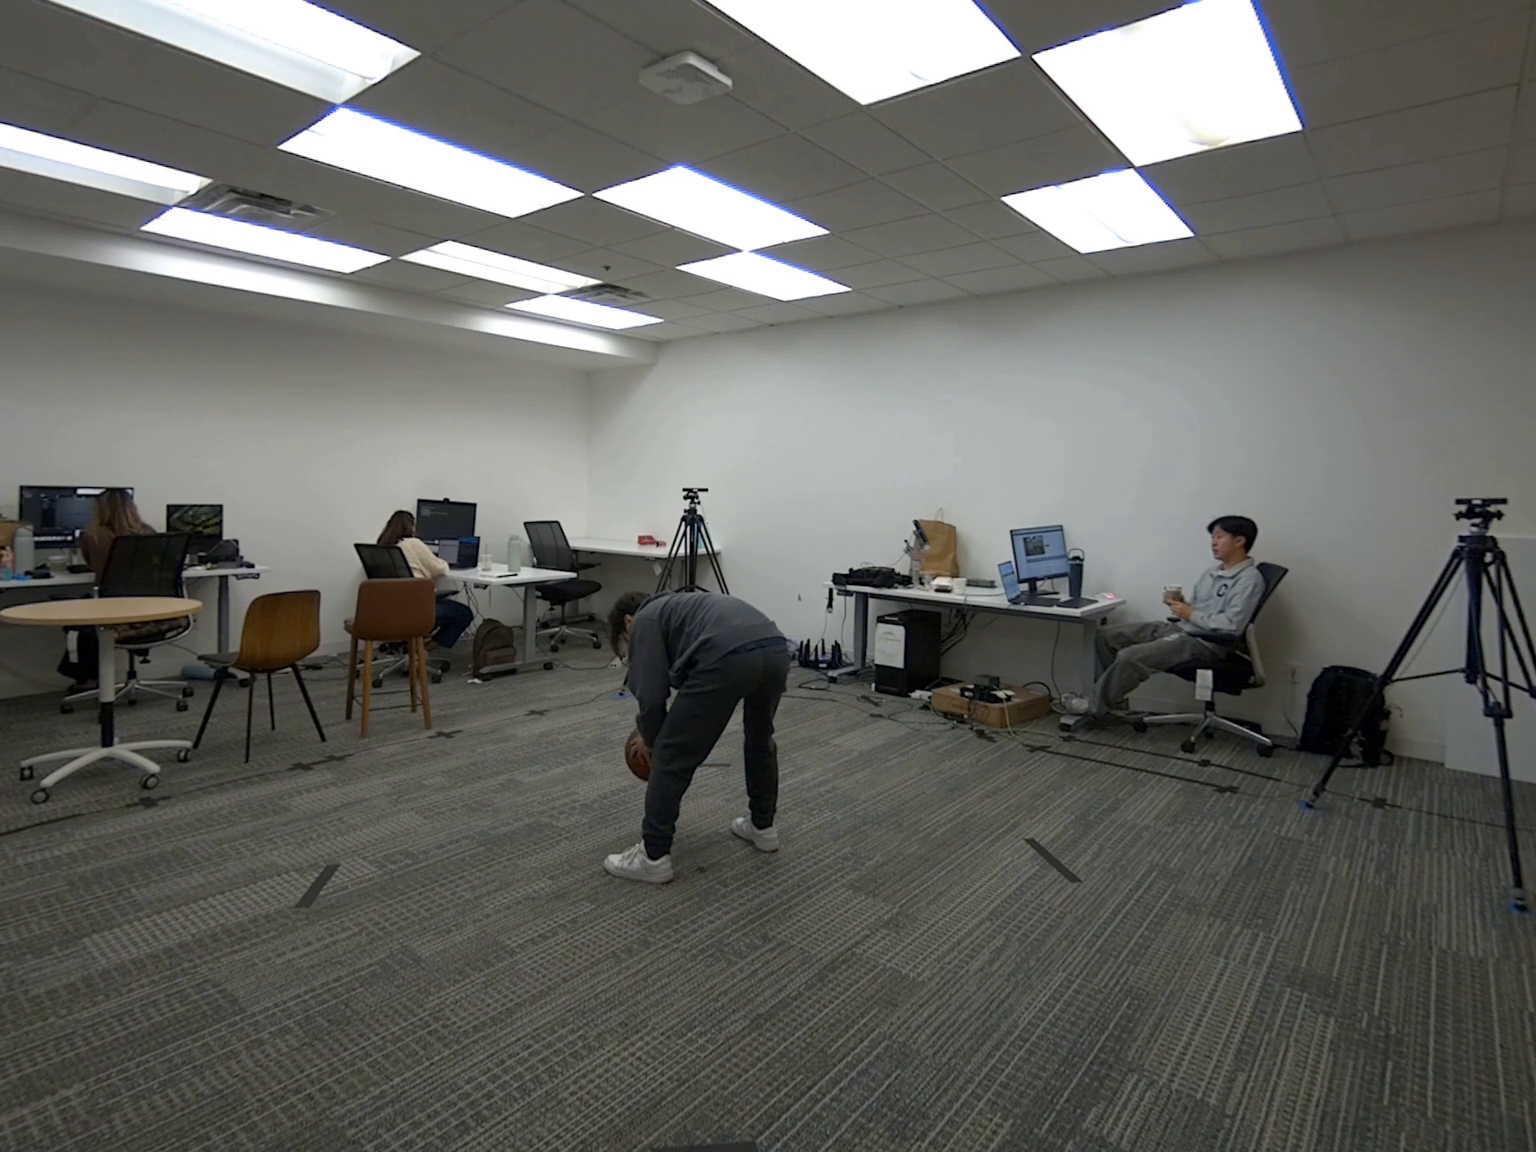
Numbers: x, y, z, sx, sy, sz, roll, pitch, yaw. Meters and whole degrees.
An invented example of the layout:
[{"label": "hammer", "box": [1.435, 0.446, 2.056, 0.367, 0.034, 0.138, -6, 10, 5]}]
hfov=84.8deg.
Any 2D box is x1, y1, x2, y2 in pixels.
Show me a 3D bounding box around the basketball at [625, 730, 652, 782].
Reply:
[{"label": "basketball", "box": [-0.458, 0.705, 3.427, 0.235, 0.235, 0.237, 1, 4, -2]}]
